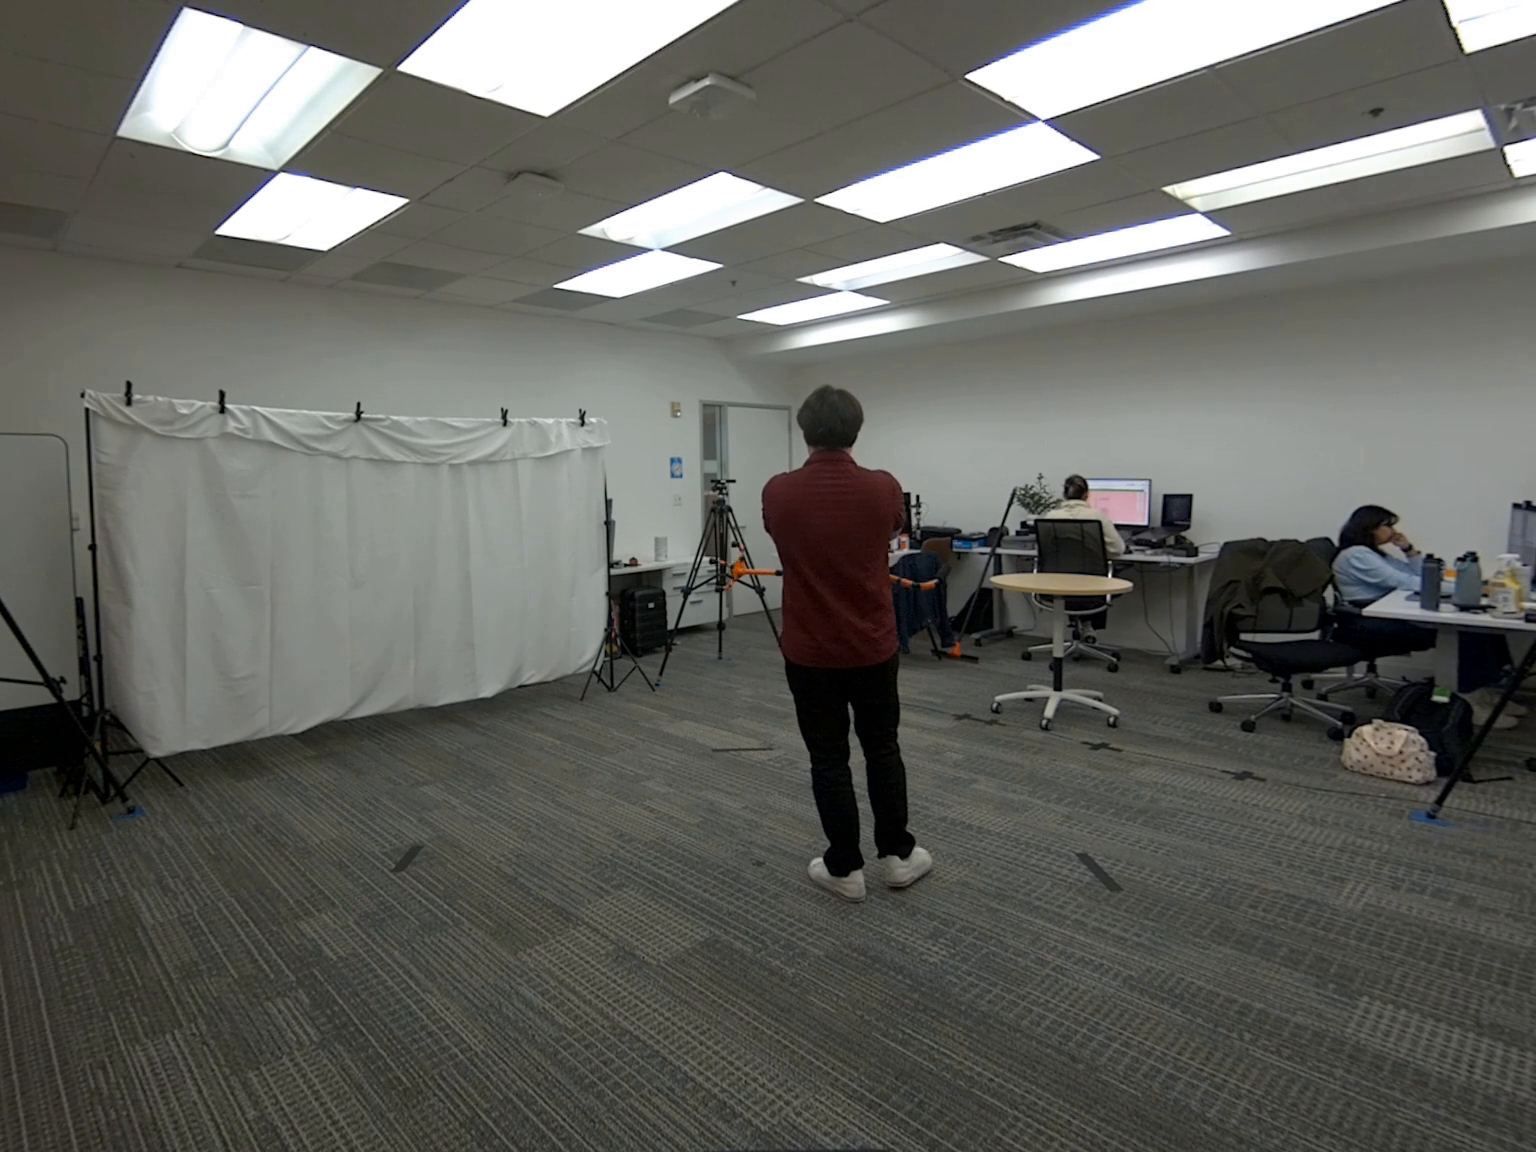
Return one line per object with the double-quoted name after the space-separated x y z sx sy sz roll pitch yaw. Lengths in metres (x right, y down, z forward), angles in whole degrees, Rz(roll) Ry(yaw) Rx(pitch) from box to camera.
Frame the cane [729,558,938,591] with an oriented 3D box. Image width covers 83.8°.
0.224 -0.014 3.253 0.932 0.148 0.206 2 28 31 "cane"
